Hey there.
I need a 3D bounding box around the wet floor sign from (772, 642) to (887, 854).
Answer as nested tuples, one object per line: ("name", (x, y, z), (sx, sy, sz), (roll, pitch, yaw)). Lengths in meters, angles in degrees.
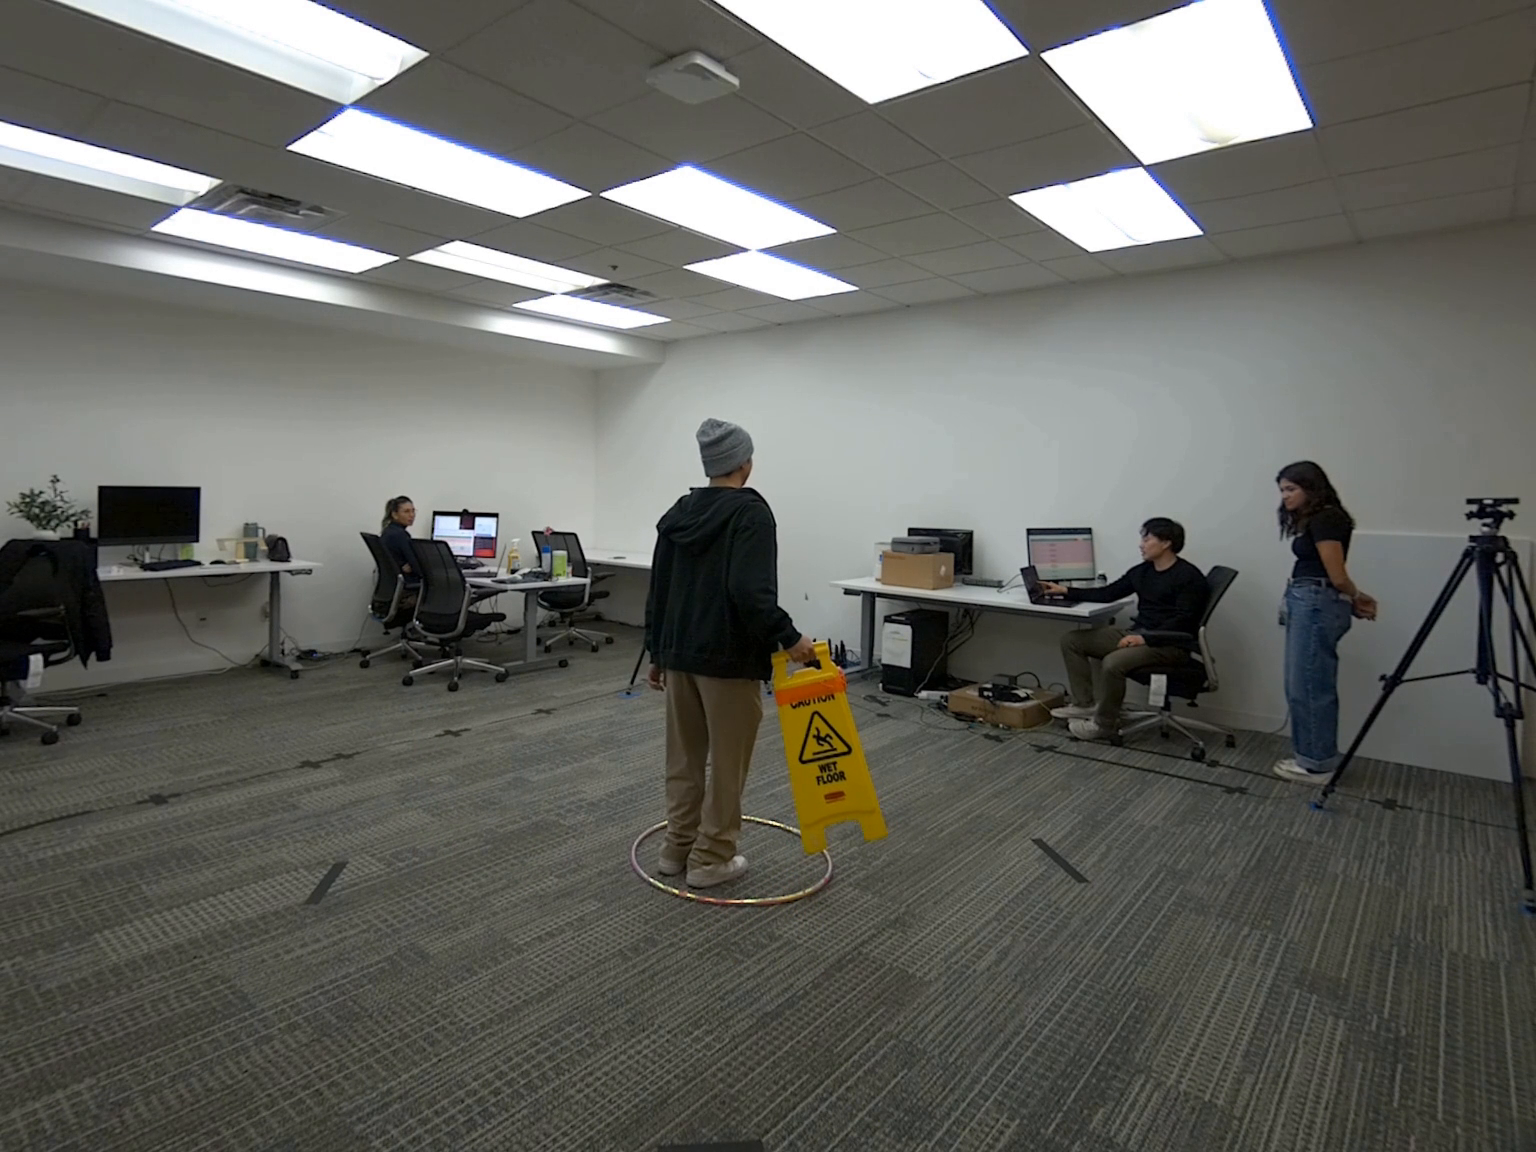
("wet floor sign", (0.175, 0.557, 2.894), (0.283, 0.644, 0.290), (-11, 2, 1))
